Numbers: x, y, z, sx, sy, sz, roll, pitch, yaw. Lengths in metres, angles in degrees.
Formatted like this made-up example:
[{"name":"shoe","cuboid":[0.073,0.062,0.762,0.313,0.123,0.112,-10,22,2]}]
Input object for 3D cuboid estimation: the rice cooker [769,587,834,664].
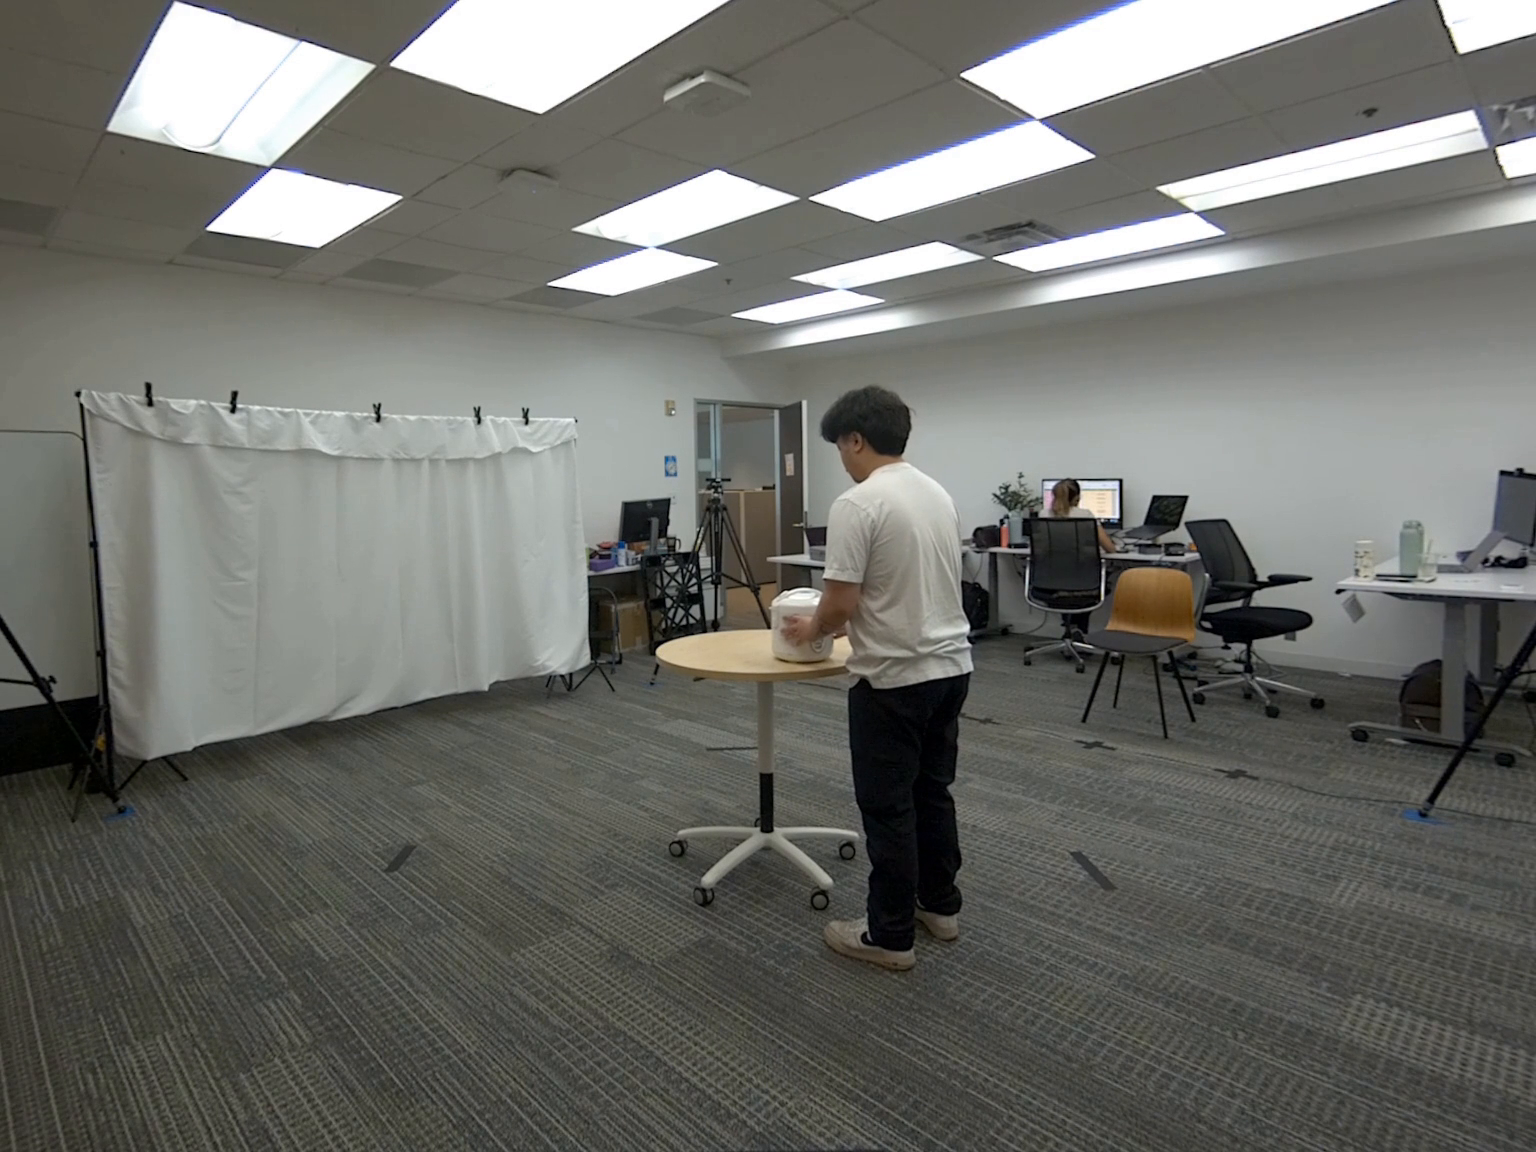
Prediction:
[{"name":"rice cooker","cuboid":[0.119,0.157,2.829,0.216,0.232,0.223,-4,5,-24]}]
